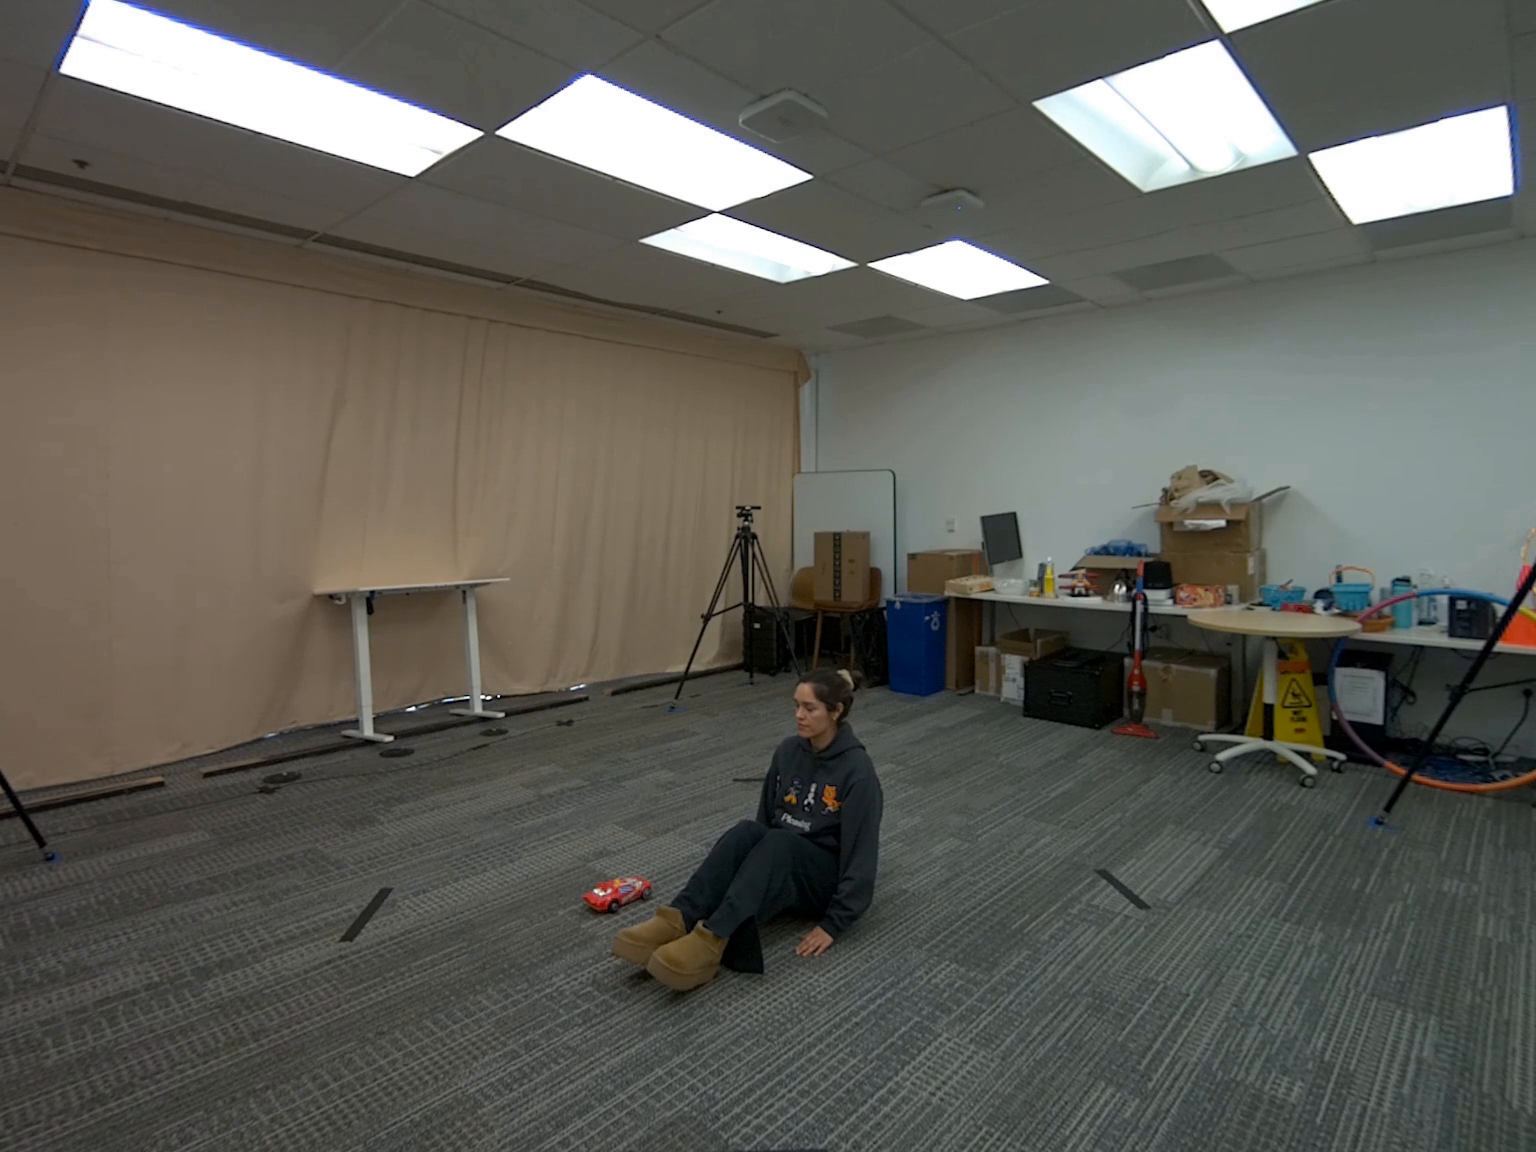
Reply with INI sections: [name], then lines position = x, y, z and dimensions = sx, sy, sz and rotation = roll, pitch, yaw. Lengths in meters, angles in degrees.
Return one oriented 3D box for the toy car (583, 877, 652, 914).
[toy car]
position = -0.516, 1.125, 2.960
dimensions = 0.246, 0.083, 0.134
rotation = 10, -5, -44
